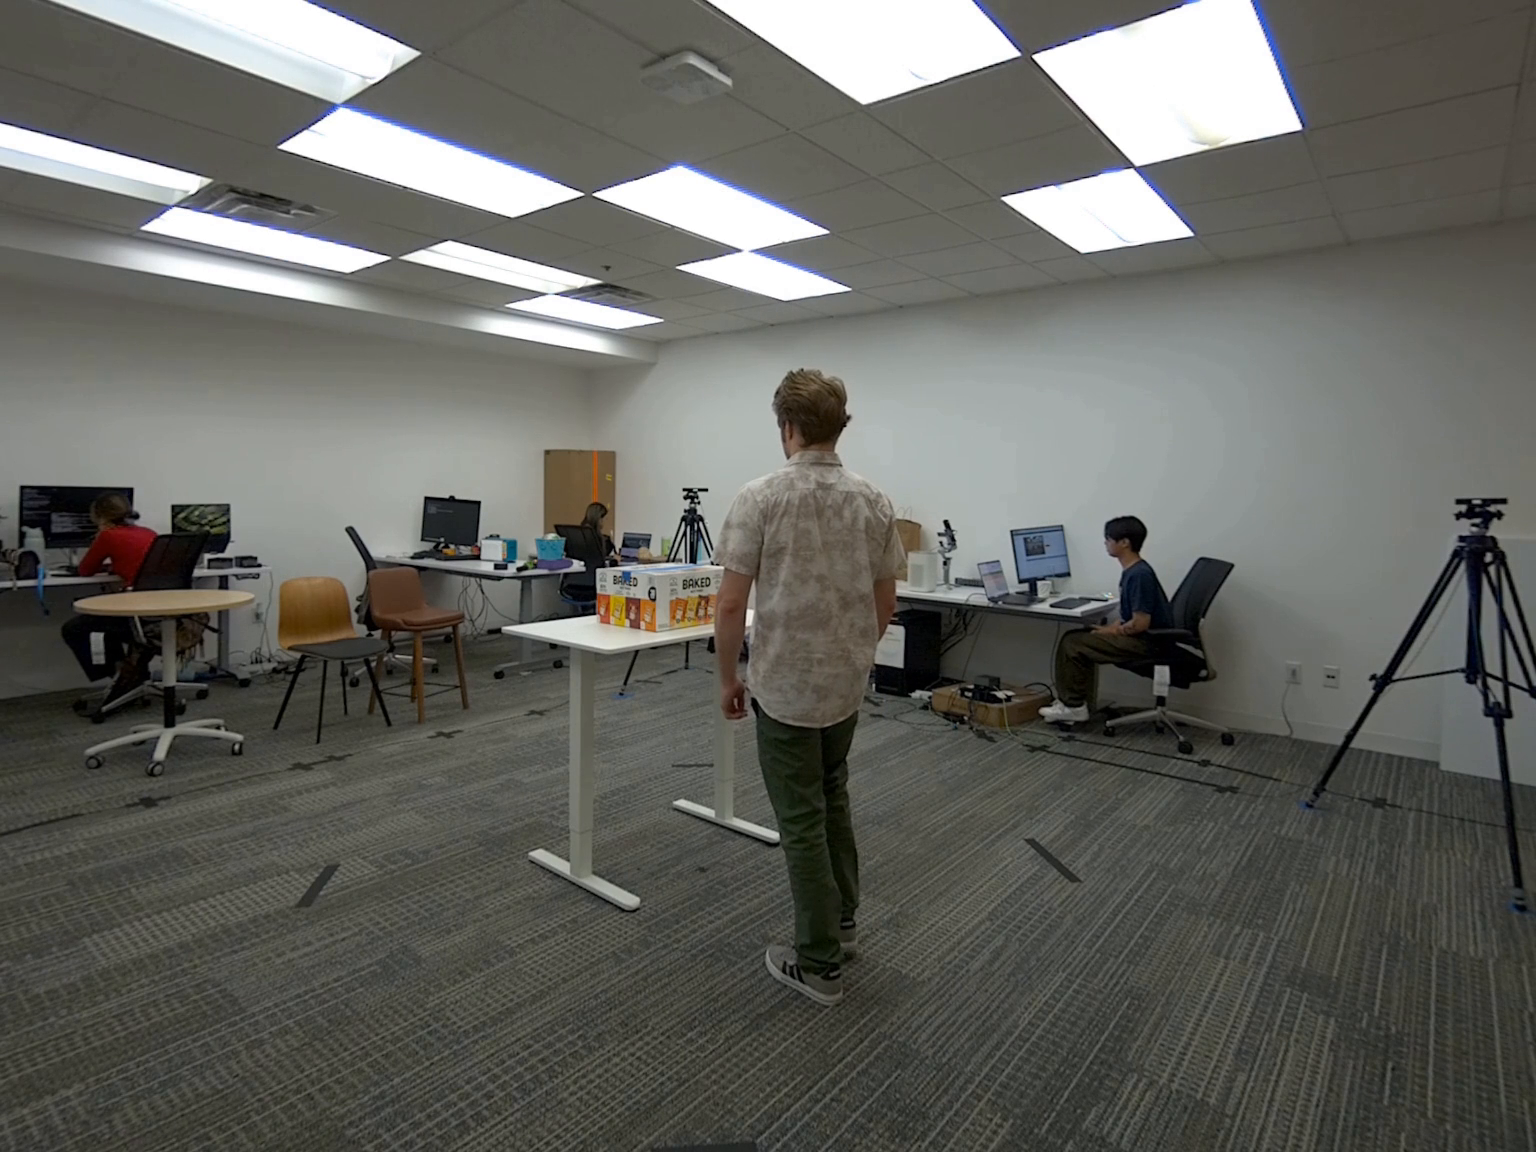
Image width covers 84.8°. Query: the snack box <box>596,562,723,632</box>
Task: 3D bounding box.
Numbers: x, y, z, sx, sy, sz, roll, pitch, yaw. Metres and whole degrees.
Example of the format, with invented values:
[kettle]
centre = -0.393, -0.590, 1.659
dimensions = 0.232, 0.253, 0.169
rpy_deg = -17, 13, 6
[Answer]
[snack box]
centre = -0.402, 0.069, 3.232
dimensions = 0.352, 0.205, 0.393
rpy_deg = 5, 7, 41
